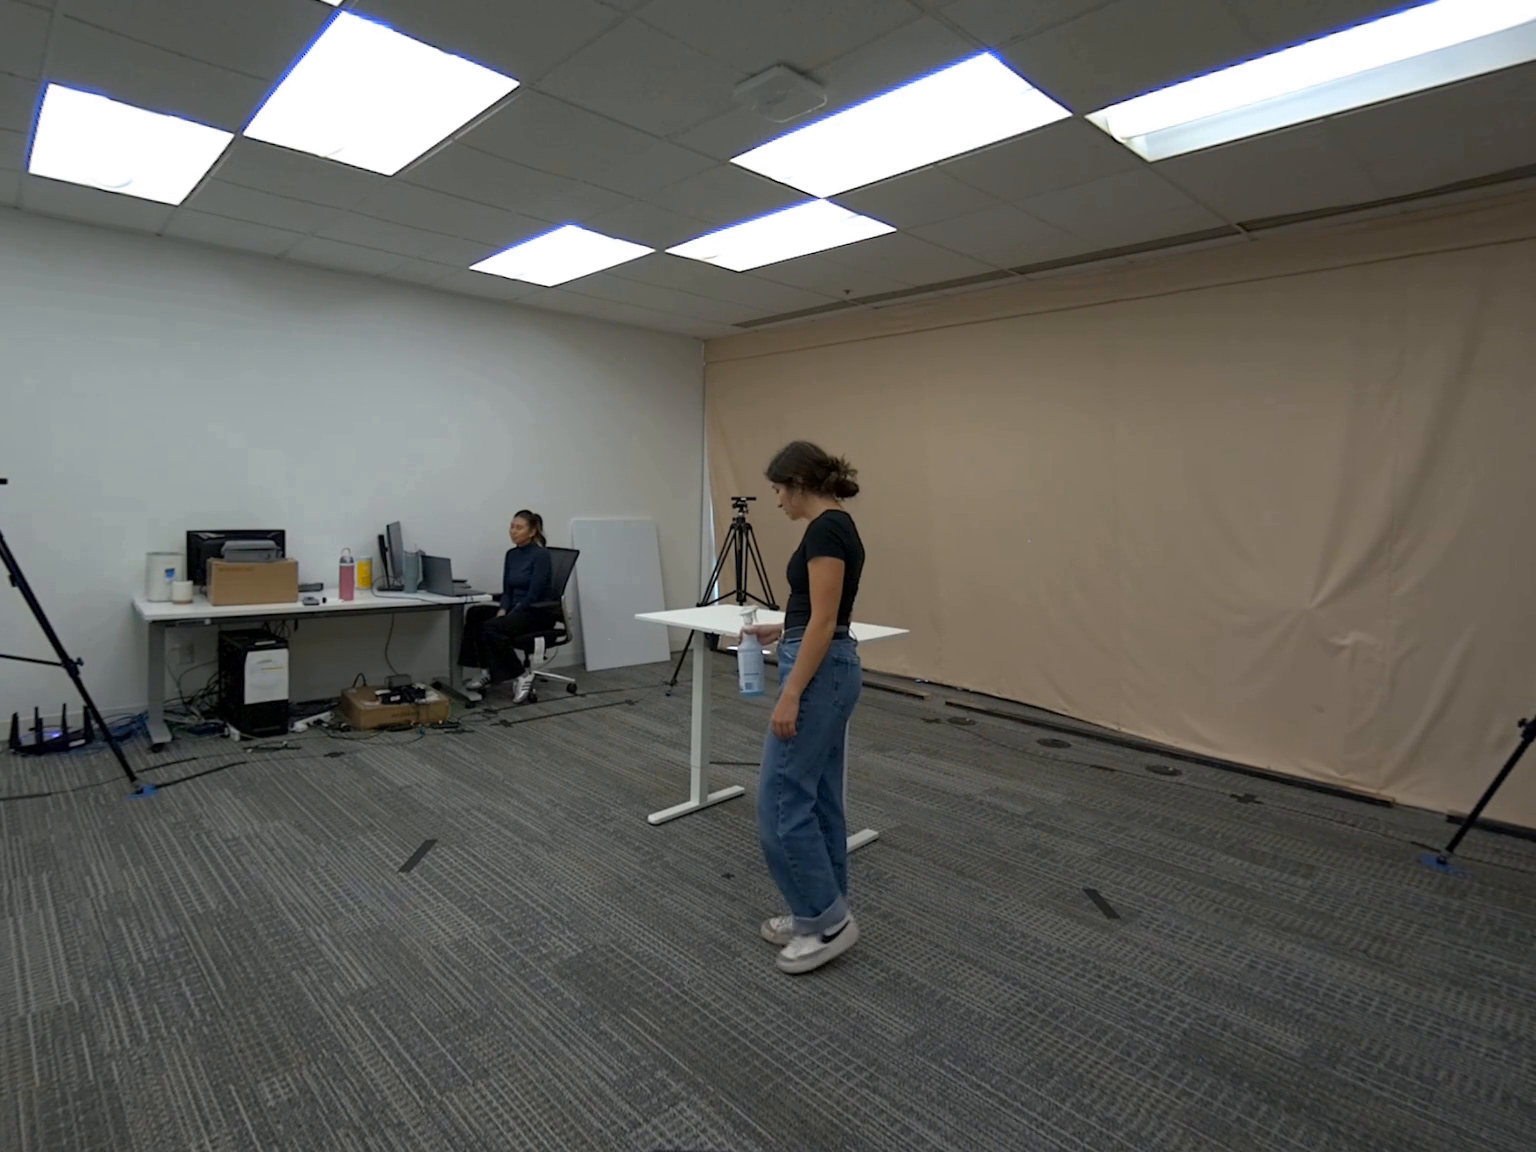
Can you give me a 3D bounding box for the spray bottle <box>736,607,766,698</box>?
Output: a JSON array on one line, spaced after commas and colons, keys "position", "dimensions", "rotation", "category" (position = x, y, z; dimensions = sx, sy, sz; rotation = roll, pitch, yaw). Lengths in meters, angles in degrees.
[{"position": [-0.061, 0.249, 2.800], "dimensions": [0.086, 0.298, 0.090], "rotation": [-3, -3, -11], "category": "spray bottle"}]
